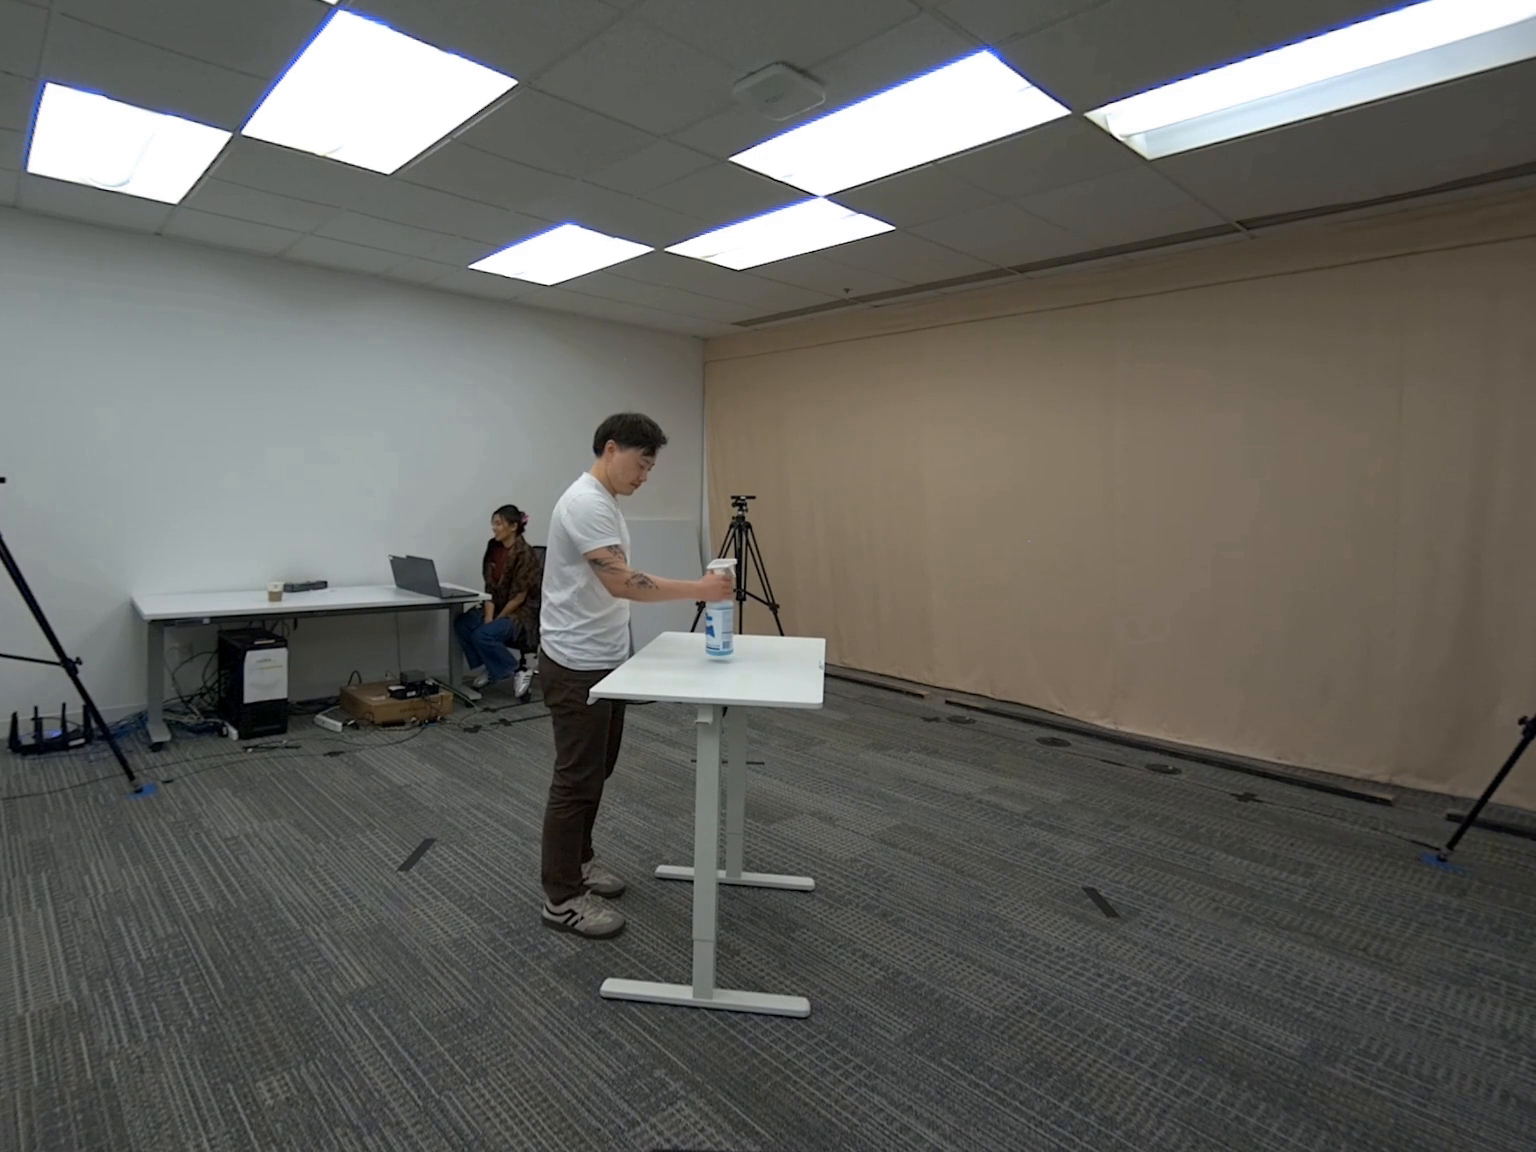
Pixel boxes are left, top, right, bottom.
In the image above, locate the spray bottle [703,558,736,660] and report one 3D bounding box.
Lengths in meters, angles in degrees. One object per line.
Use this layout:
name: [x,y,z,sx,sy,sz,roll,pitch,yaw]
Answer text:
spray bottle: [-0.159,0.093,2.589,0.092,0.296,0.085,5,5,25]
